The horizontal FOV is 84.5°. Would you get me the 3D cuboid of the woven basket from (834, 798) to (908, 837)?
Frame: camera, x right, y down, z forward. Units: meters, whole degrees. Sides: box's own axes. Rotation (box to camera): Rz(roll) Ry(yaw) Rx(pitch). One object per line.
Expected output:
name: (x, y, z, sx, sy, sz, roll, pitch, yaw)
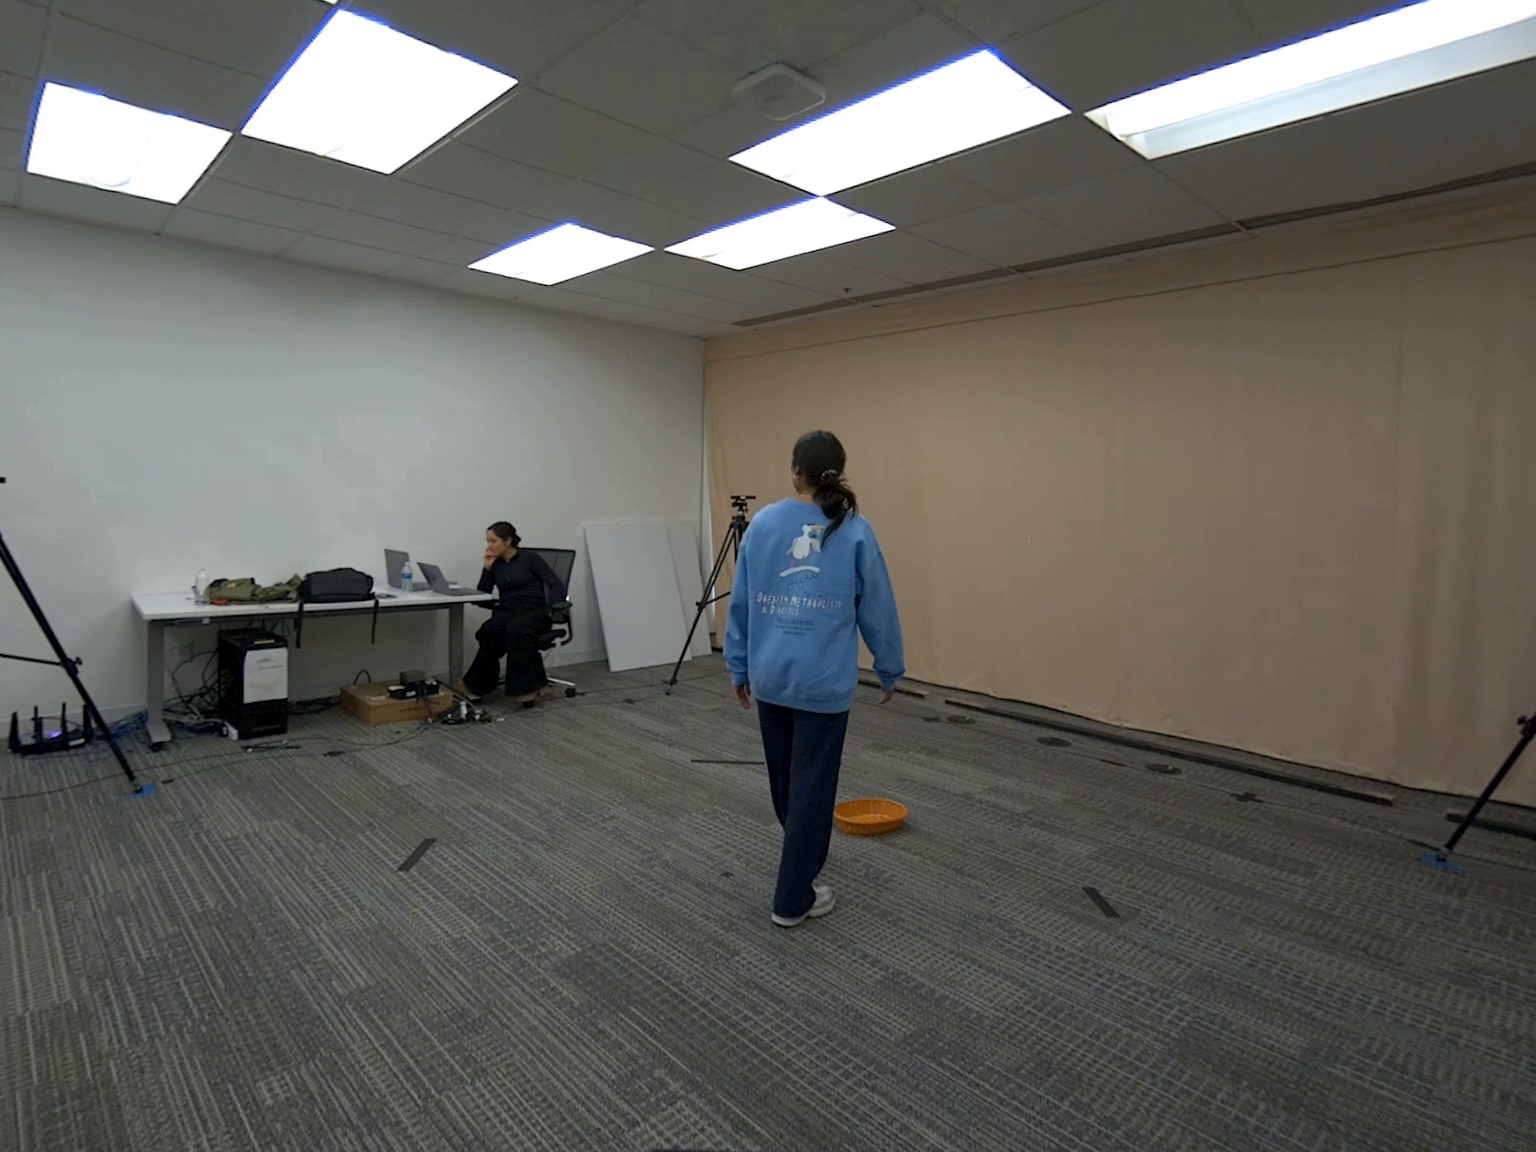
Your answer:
woven basket: (0.422, 1.029, 3.606, 0.345, 0.073, 0.257, -1, 6, -22)
